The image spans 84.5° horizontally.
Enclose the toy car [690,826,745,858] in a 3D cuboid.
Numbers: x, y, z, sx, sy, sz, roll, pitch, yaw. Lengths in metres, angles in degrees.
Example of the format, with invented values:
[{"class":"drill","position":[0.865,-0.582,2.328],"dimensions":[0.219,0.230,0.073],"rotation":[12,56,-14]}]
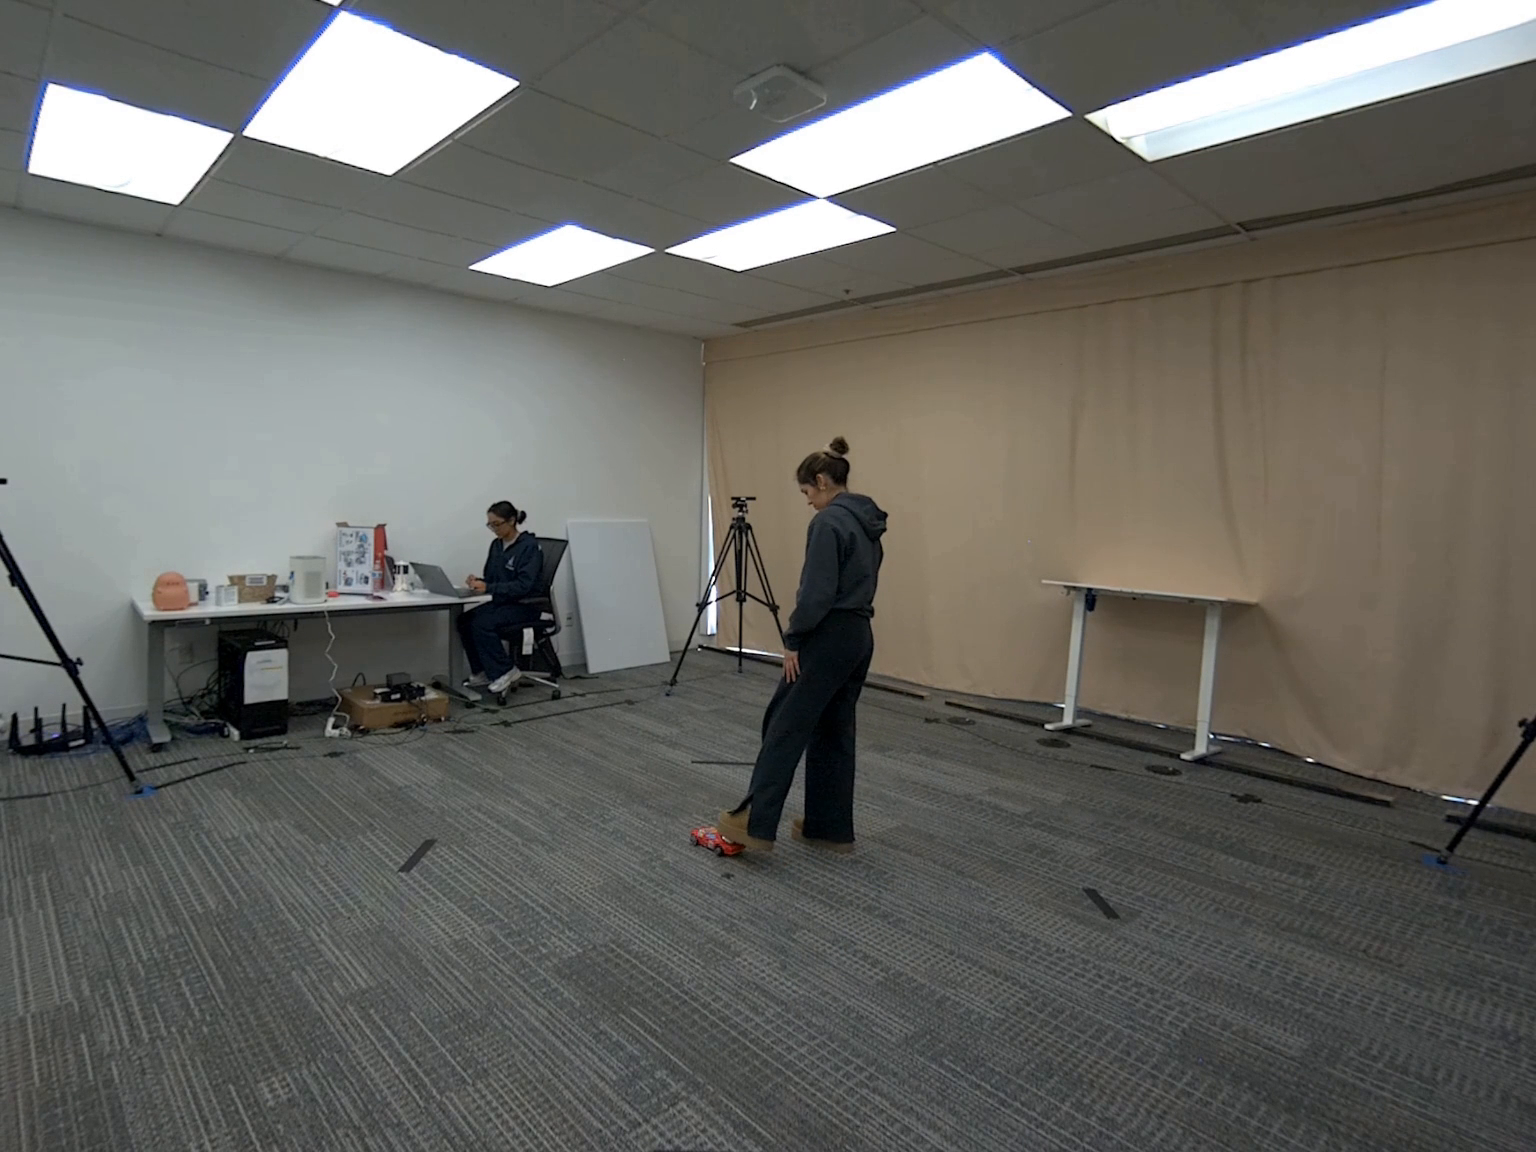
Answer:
[{"class":"toy car","position":[-0.203,1.054,3.355],"dimensions":[0.260,0.083,0.127],"rotation":[-6,-2,44]}]
